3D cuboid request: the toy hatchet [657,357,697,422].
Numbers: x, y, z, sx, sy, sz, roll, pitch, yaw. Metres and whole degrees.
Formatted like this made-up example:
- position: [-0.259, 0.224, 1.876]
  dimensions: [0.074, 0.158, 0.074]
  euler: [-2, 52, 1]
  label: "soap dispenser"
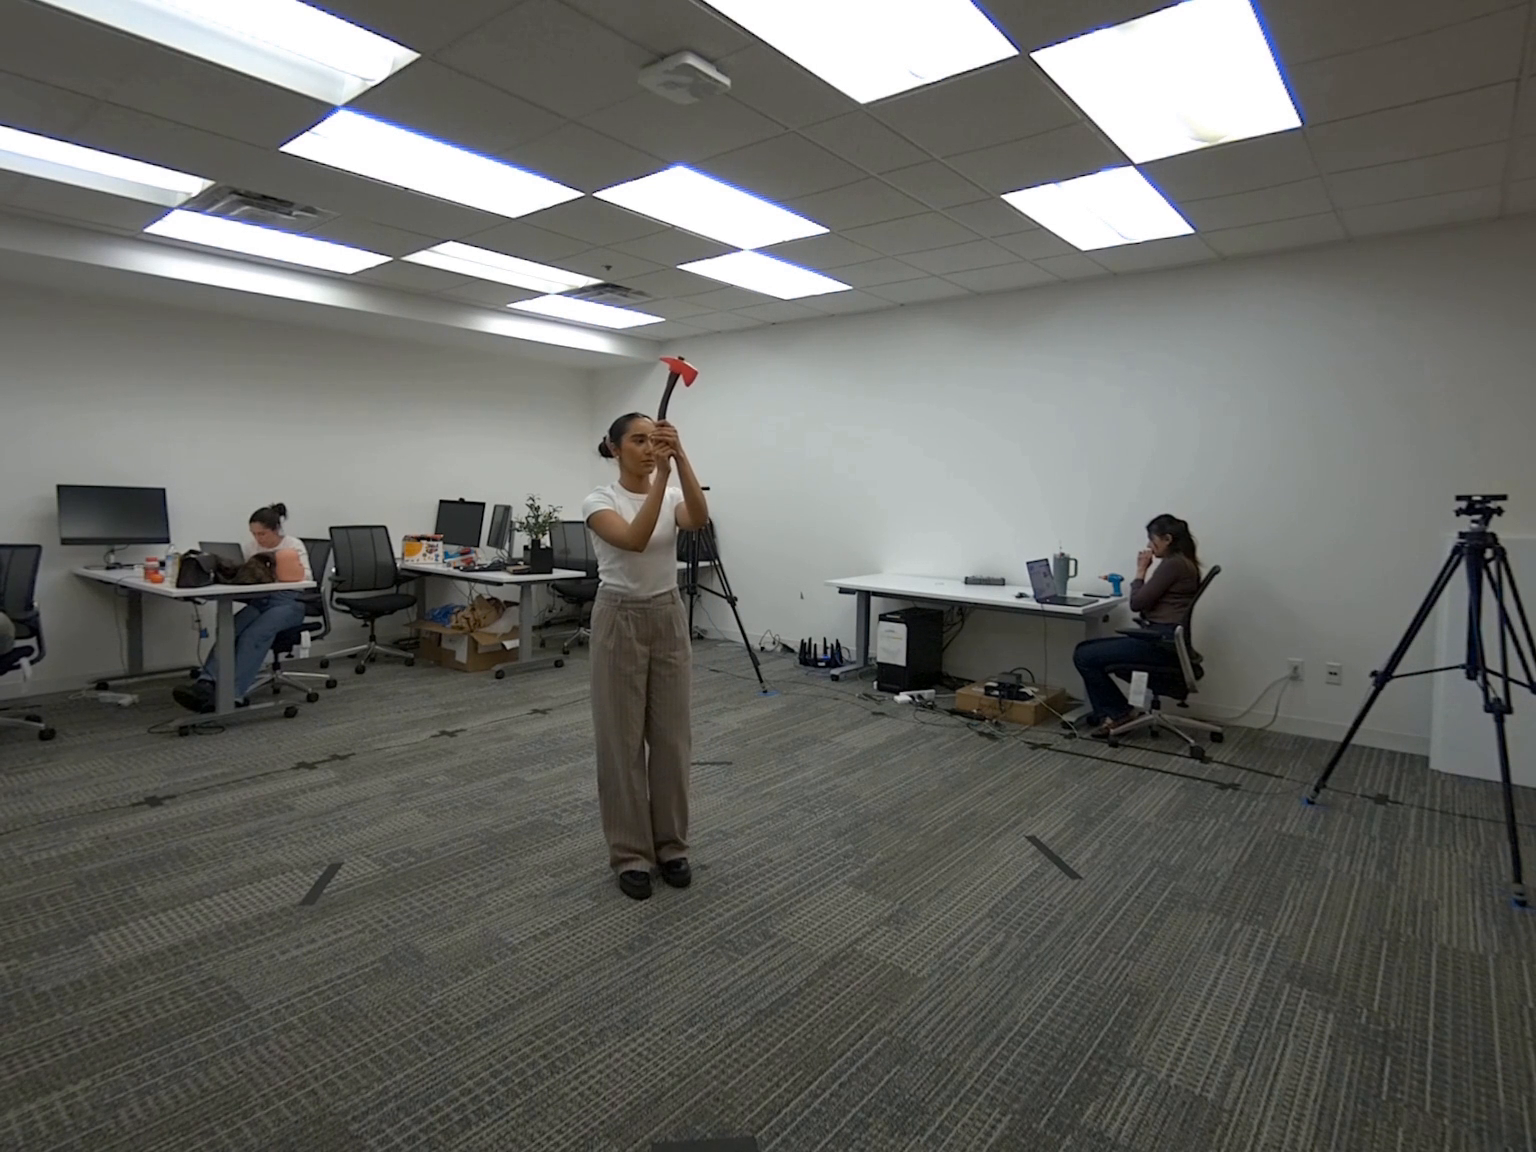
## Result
- position: [-0.292, -0.561, 2.676]
  dimensions: [0.133, 0.268, 0.029]
  euler: [5, 7, 12]
  label: "toy hatchet"
